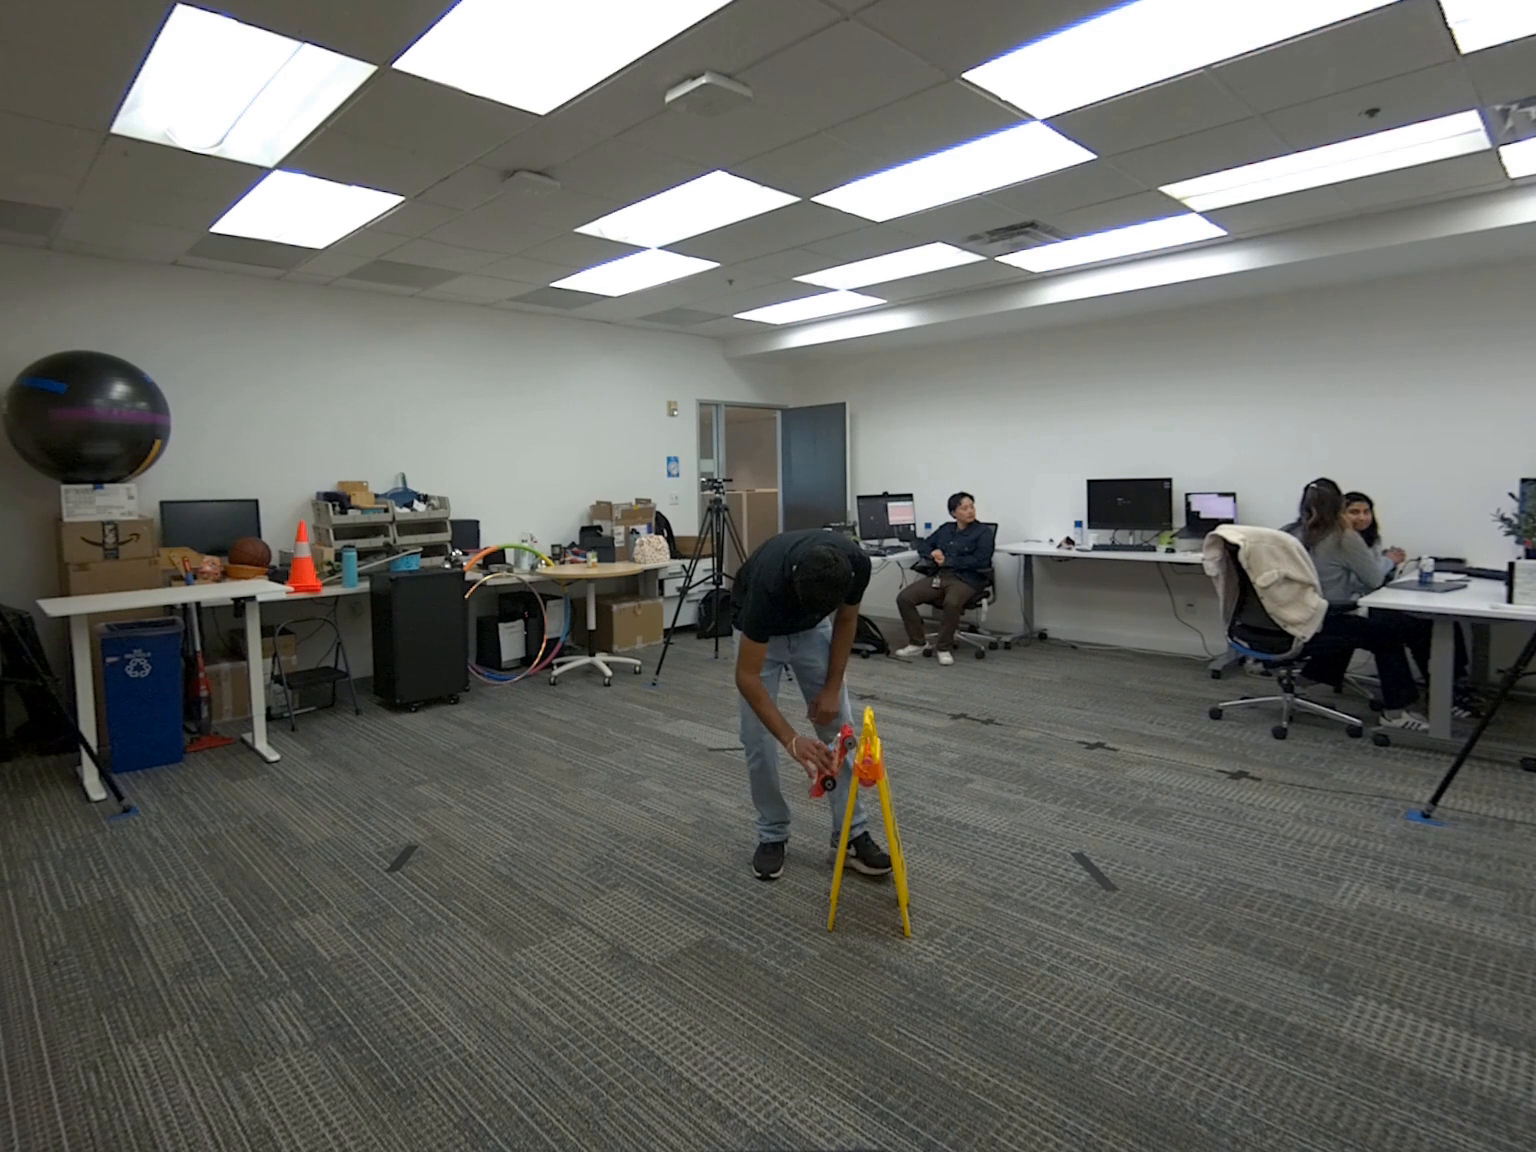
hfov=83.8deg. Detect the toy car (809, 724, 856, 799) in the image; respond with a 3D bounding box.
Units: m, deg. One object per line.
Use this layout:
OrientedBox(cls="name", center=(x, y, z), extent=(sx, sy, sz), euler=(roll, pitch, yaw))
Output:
OrientedBox(cls="toy car", center=(0.214, 0.595, 2.706), extent=(0.083, 0.254, 0.130), euler=(31, 3, 1))
